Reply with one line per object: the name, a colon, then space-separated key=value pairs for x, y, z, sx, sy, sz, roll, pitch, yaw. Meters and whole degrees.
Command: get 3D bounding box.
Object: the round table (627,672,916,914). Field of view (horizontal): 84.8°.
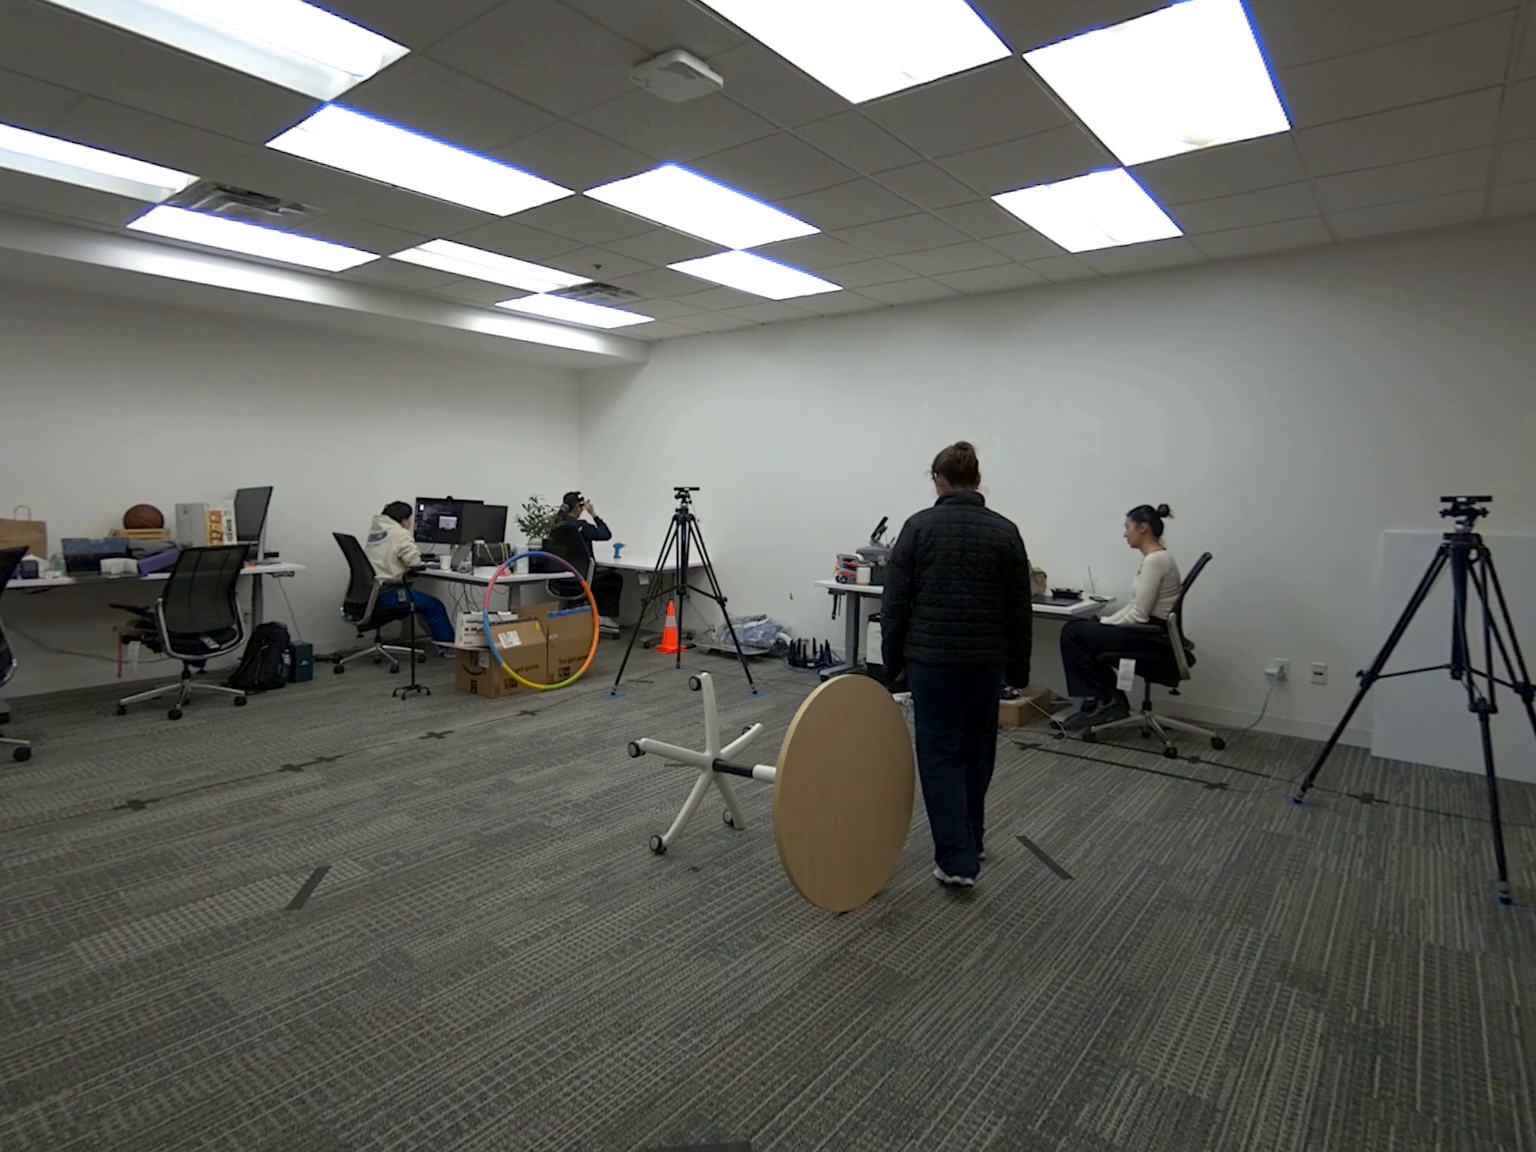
round table: x=0.008 y=0.726 z=3.158 sx=0.810 sy=0.785 sz=0.761 roll=-2 pitch=1 yaw=44
